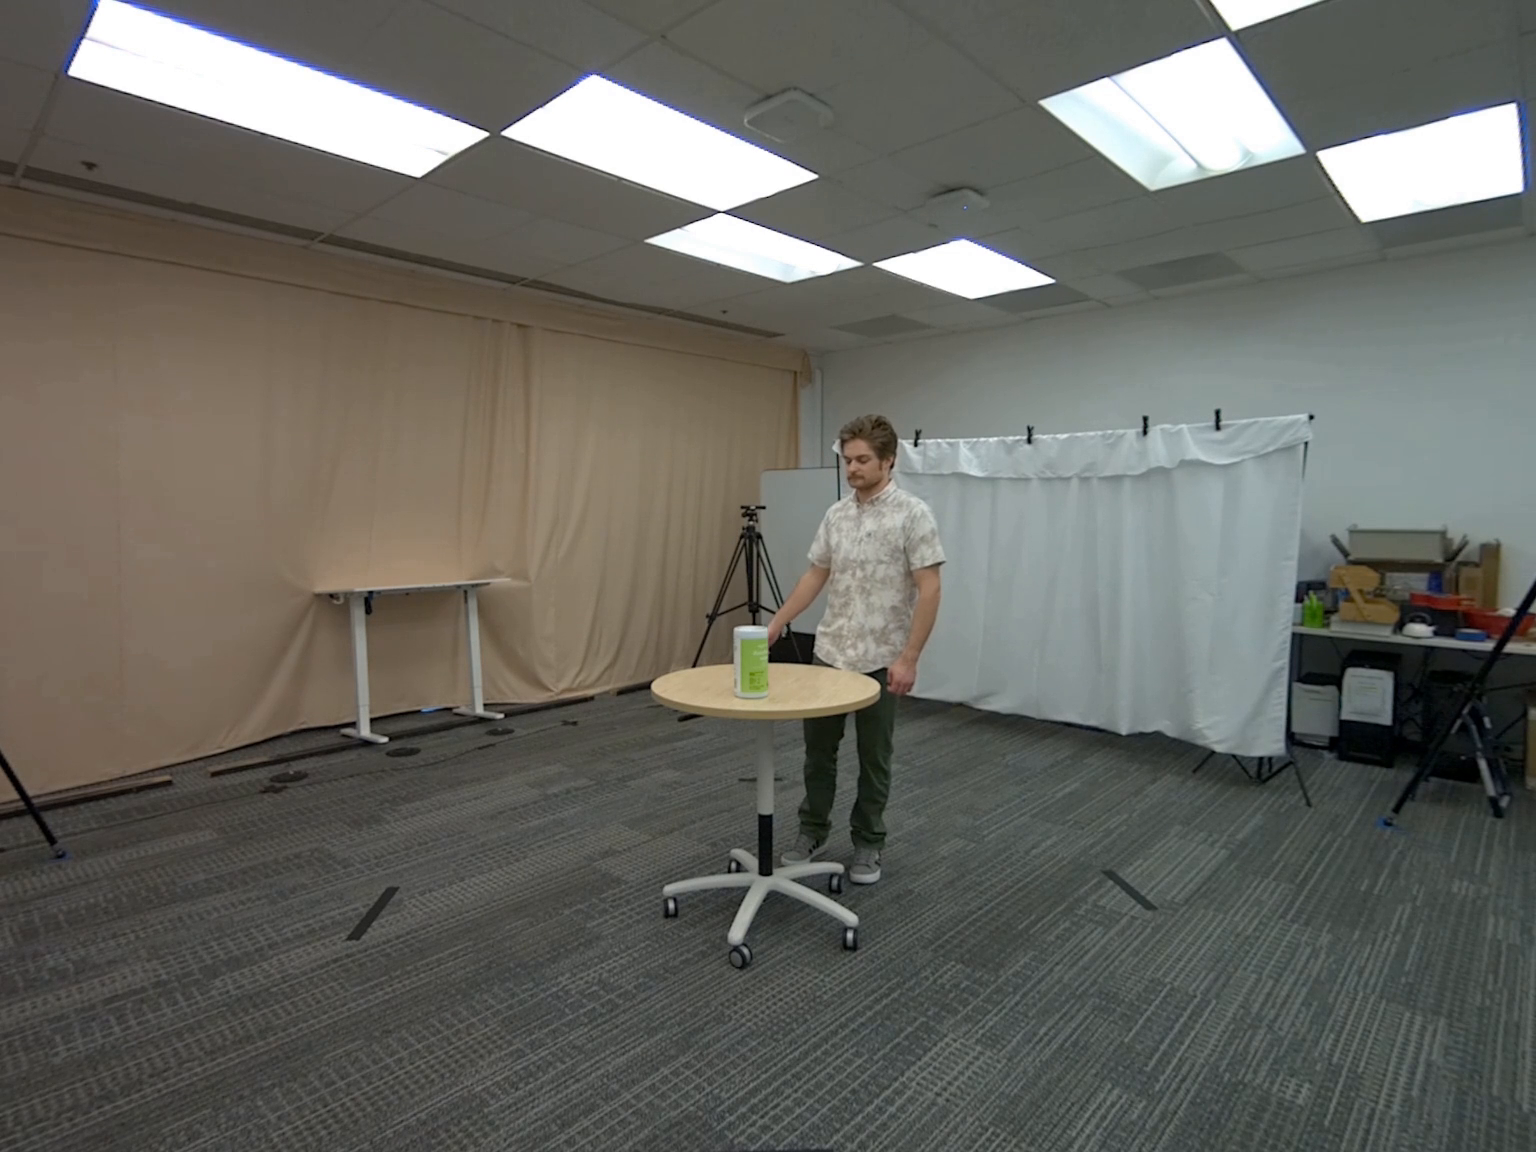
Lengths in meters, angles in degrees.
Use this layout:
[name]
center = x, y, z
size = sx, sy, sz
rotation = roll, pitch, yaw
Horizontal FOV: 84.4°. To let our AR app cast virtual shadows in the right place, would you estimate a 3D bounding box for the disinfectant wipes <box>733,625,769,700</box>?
[disinfectant wipes]
center = -0.053, 0.271, 2.652
size = 0.118, 0.217, 0.118
rotation = -1, 3, -2
